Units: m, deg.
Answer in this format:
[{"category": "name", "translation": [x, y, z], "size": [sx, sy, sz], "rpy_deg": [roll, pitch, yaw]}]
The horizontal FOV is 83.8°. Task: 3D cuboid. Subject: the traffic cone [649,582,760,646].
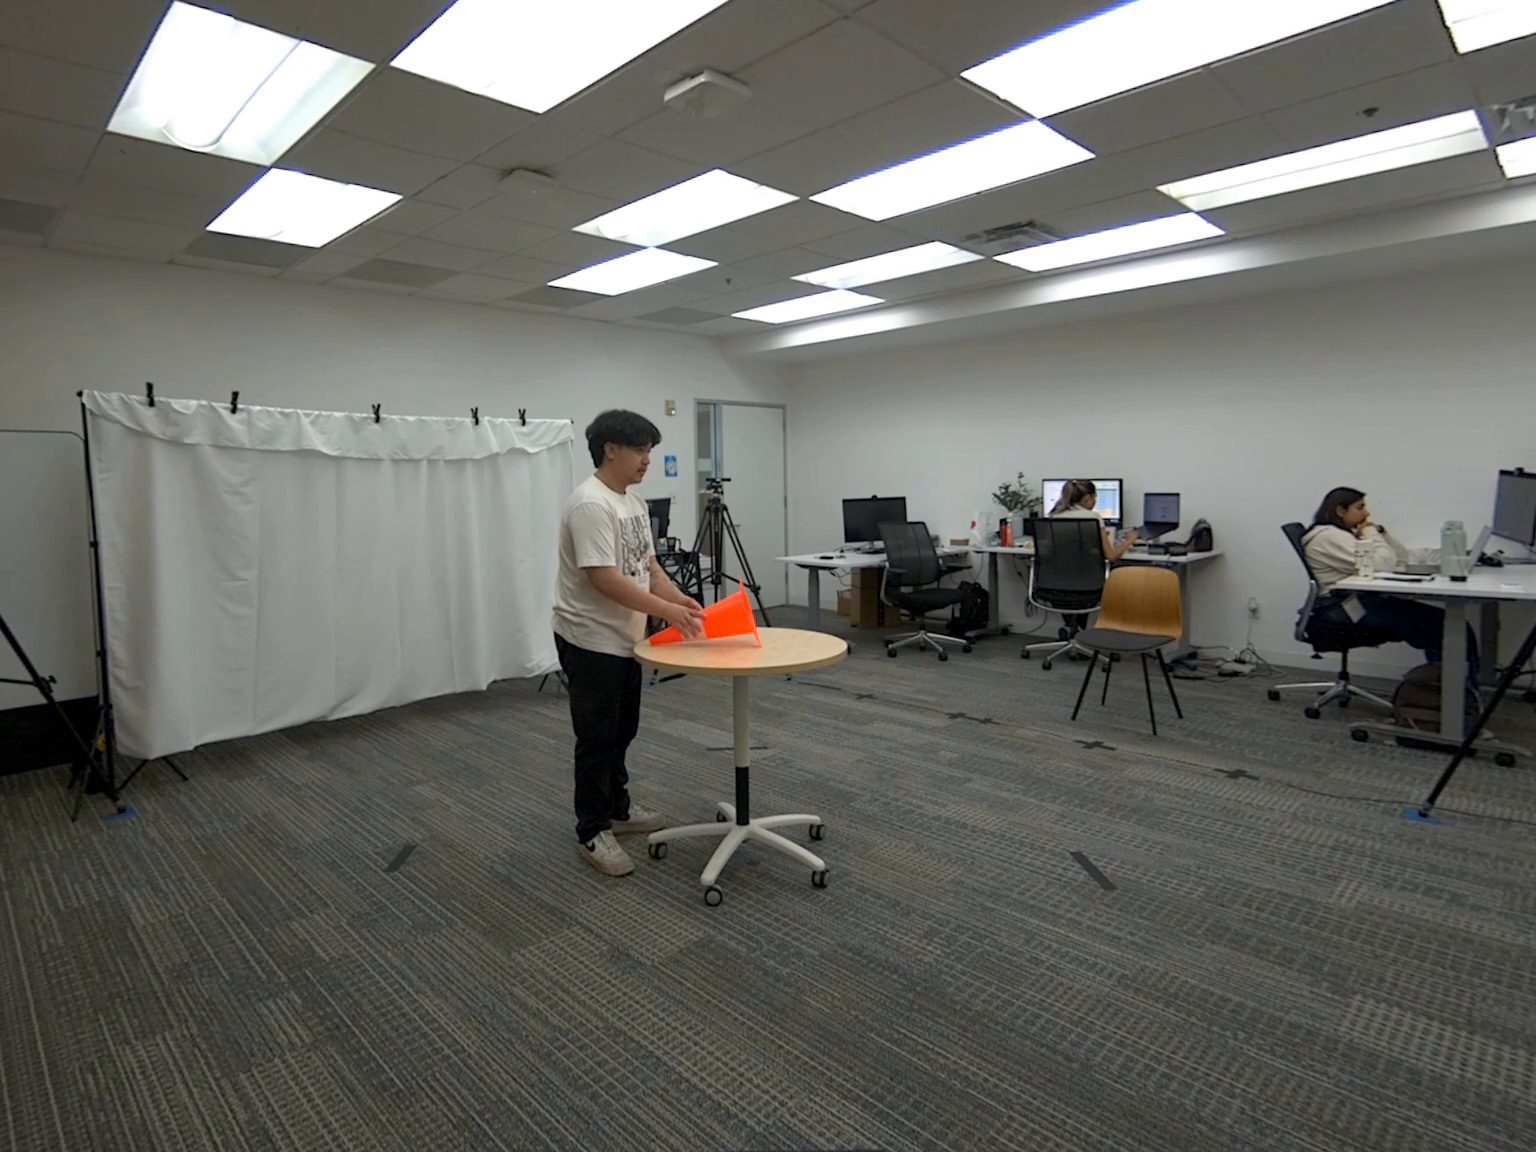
[{"category": "traffic cone", "translation": [-0.250, 0.188, 3.095], "size": [0.386, 0.197, 0.210], "rpy_deg": [-16, 43, 8]}]
